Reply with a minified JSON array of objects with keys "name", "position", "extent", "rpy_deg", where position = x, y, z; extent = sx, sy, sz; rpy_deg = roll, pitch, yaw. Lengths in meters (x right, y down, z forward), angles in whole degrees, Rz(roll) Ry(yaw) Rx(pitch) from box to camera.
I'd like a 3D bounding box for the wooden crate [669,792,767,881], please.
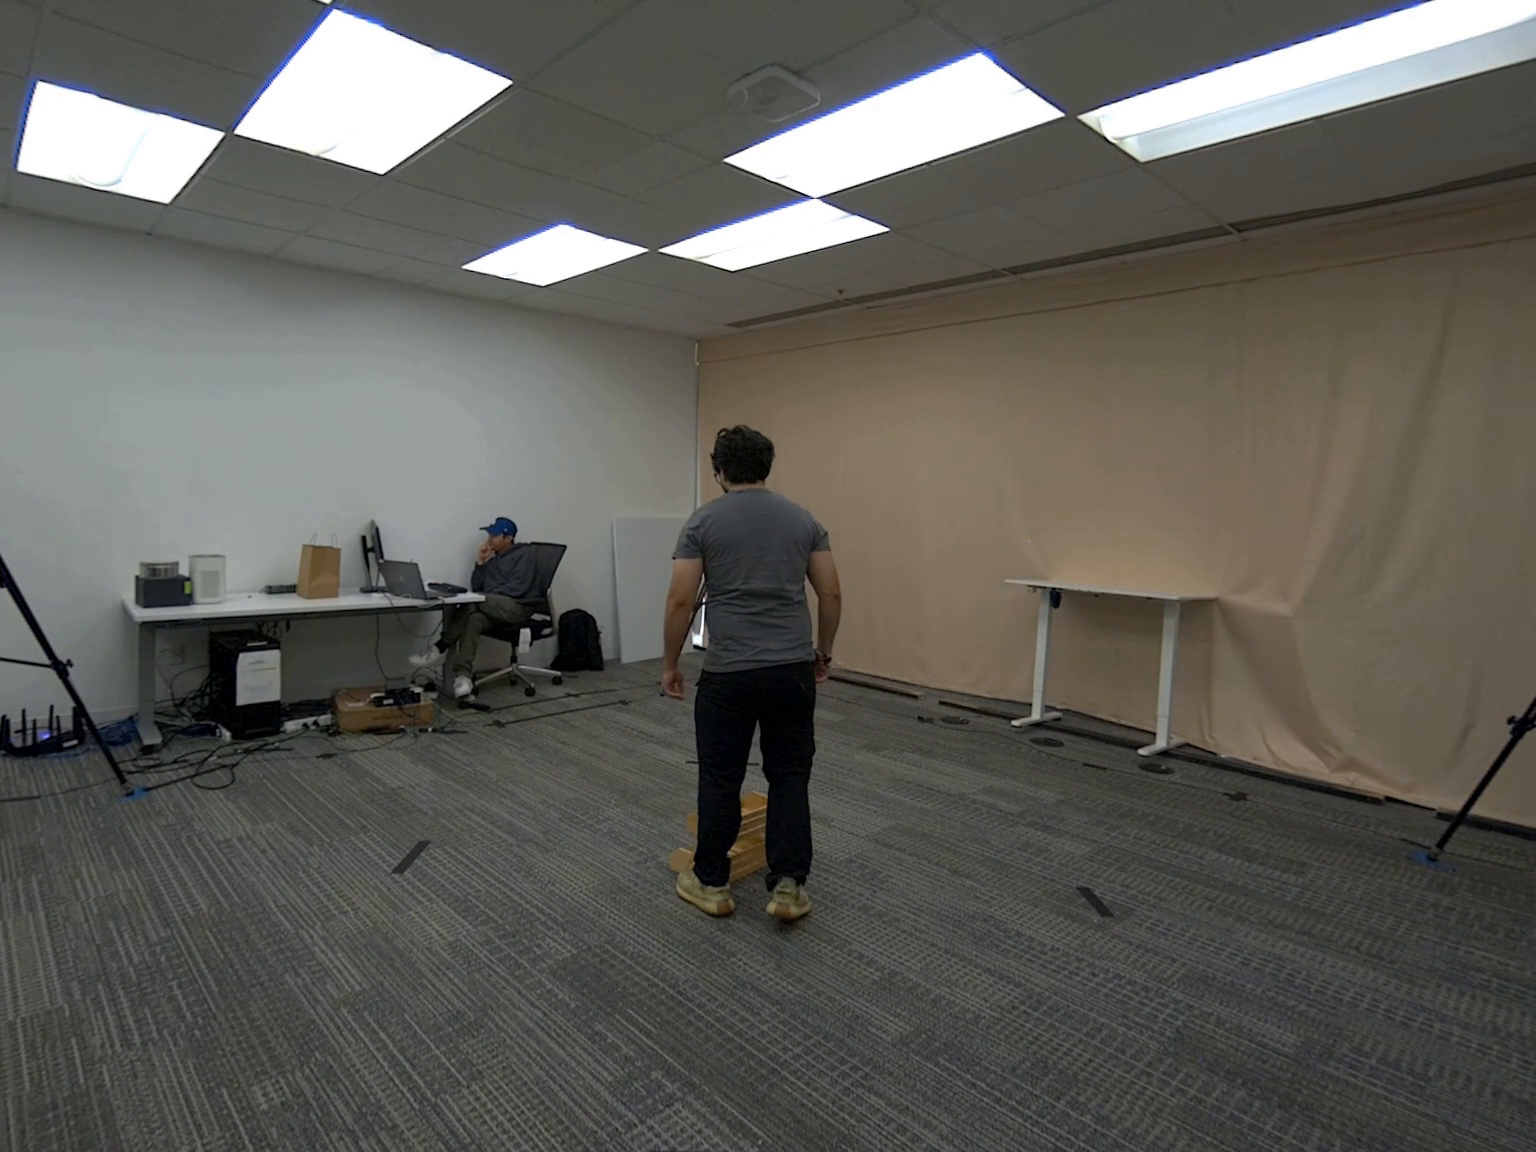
[{"name":"wooden crate","position":[-0.171,0.969,3.161],"extent":[0.310,0.272,0.317],"rpy_deg":[6,7,42]}]
